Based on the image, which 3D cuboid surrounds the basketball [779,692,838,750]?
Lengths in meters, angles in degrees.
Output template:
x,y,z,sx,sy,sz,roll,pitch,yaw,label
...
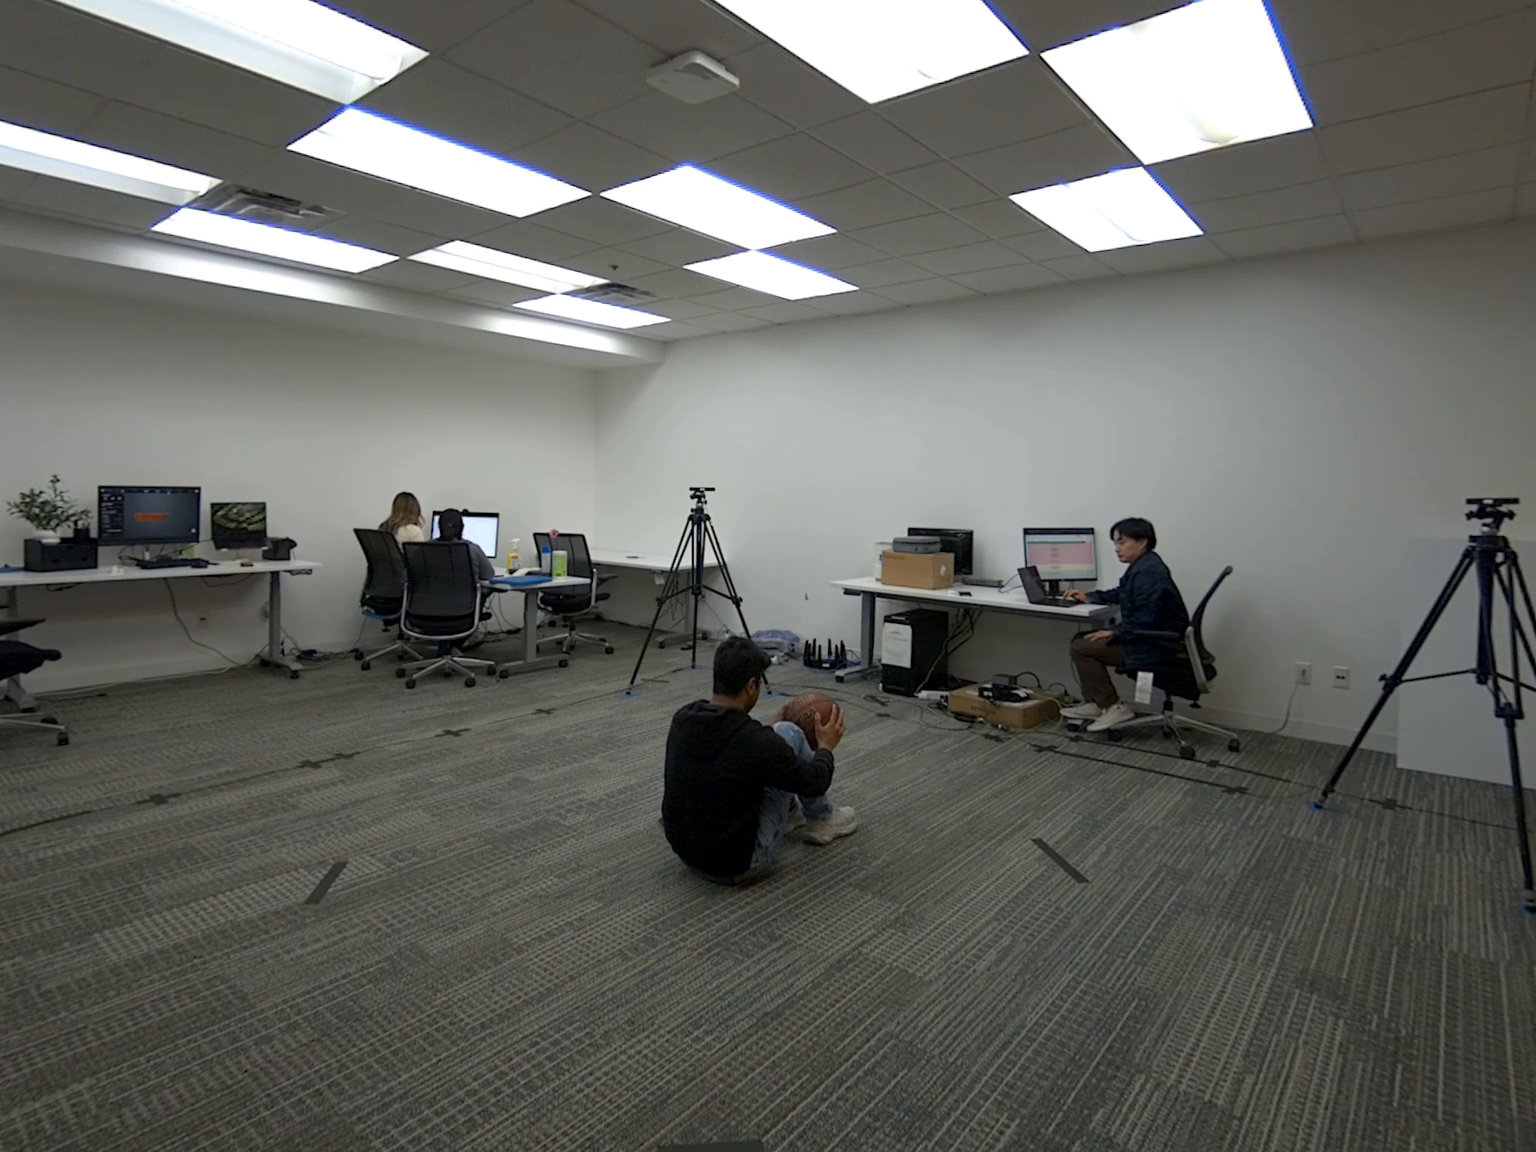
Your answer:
x,y,z,sx,sy,sz,roll,pitch,yaw,label
0.174,0.596,3.467,0.235,0.235,0.237,1,4,-2,basketball
